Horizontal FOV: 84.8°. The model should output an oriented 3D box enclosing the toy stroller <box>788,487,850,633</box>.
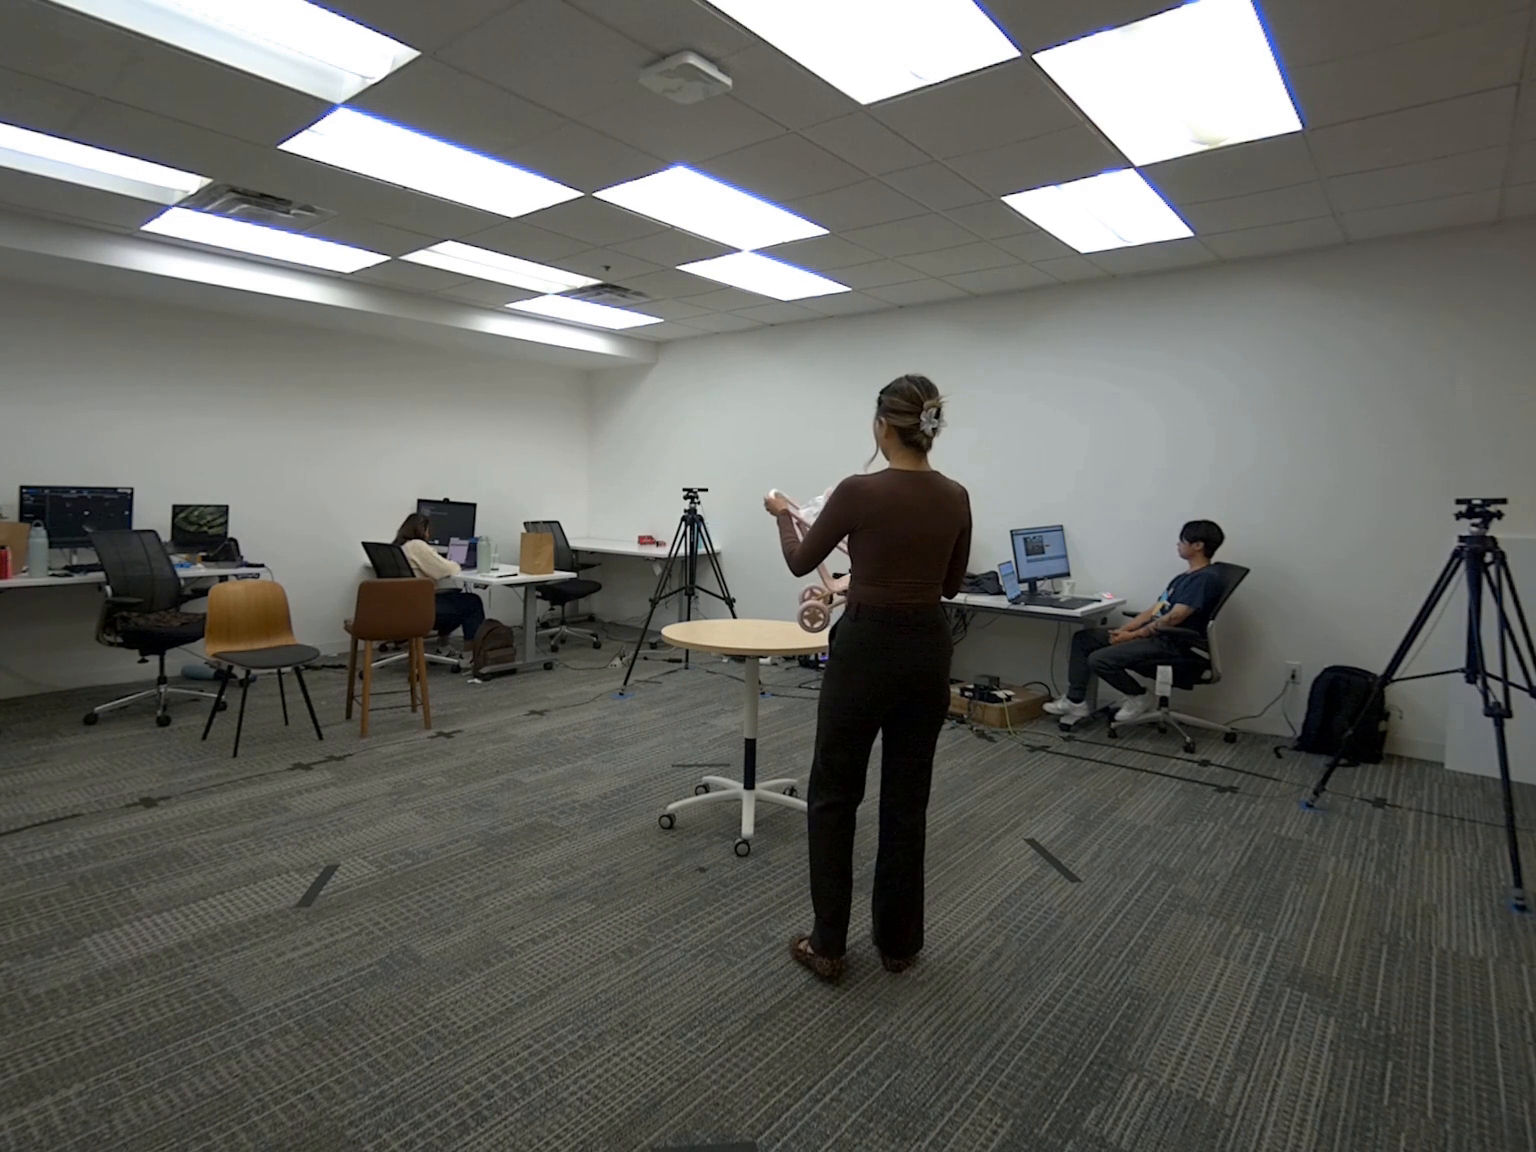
[{"bbox_3d":[0.221,-0.064,2.882,0.345,0.531,0.281,-13,7,12],"label":"toy stroller"}]
